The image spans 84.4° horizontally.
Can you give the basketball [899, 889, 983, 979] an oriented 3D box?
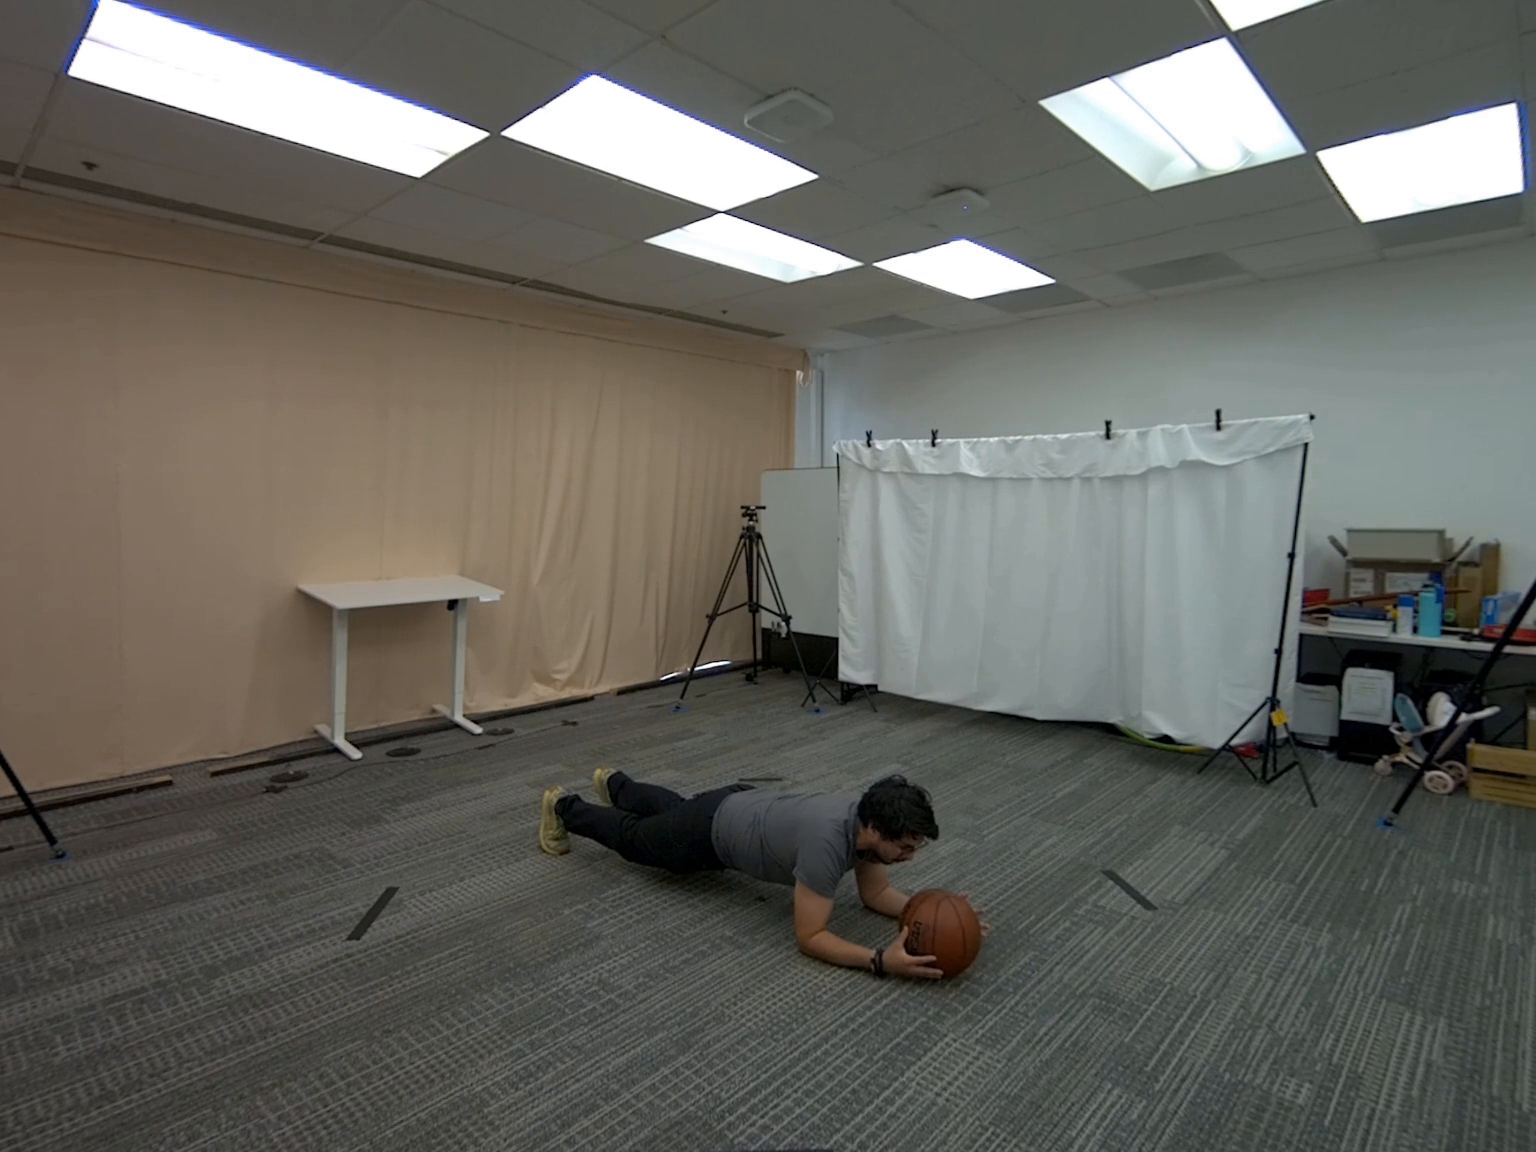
[{"bbox_3d":[0.518,1.060,2.519,0.236,0.235,0.237,0,4,-2],"label":"basketball"}]
